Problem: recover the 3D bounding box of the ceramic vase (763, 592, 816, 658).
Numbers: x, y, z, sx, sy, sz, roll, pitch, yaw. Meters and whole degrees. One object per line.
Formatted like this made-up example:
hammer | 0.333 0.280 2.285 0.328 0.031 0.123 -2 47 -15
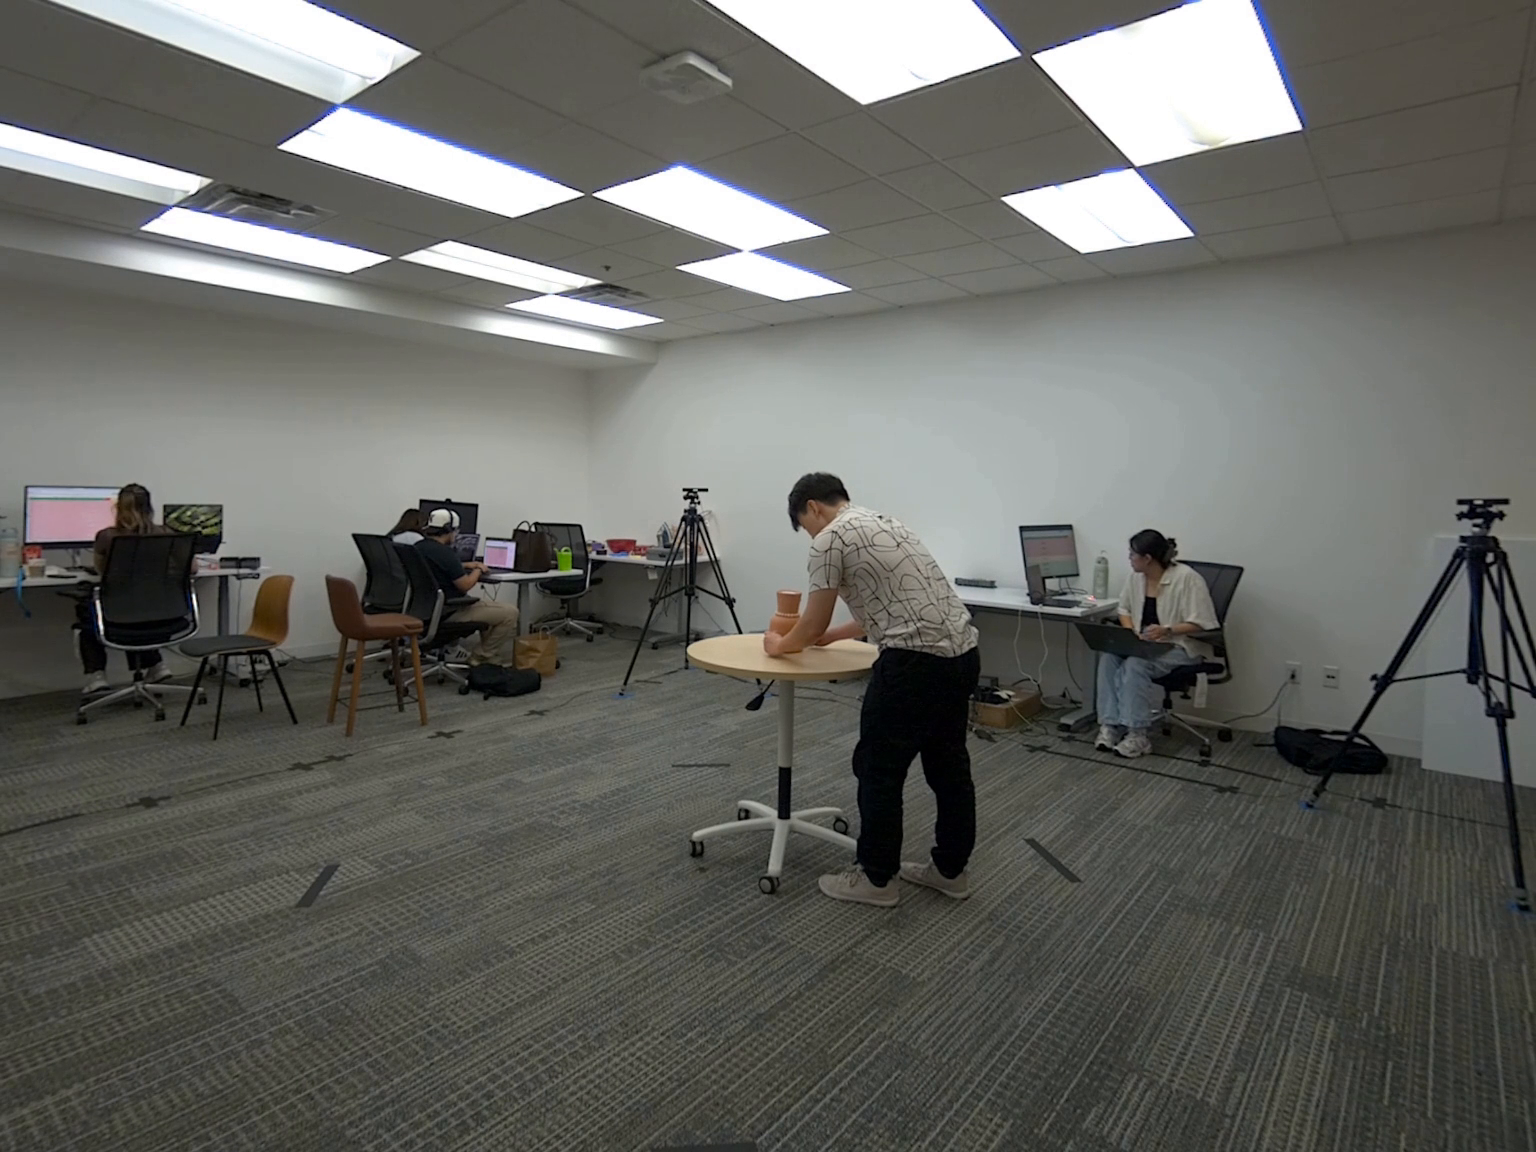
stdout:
ceramic vase | 0.072 0.167 3.231 0.135 0.219 0.159 6 5 2
